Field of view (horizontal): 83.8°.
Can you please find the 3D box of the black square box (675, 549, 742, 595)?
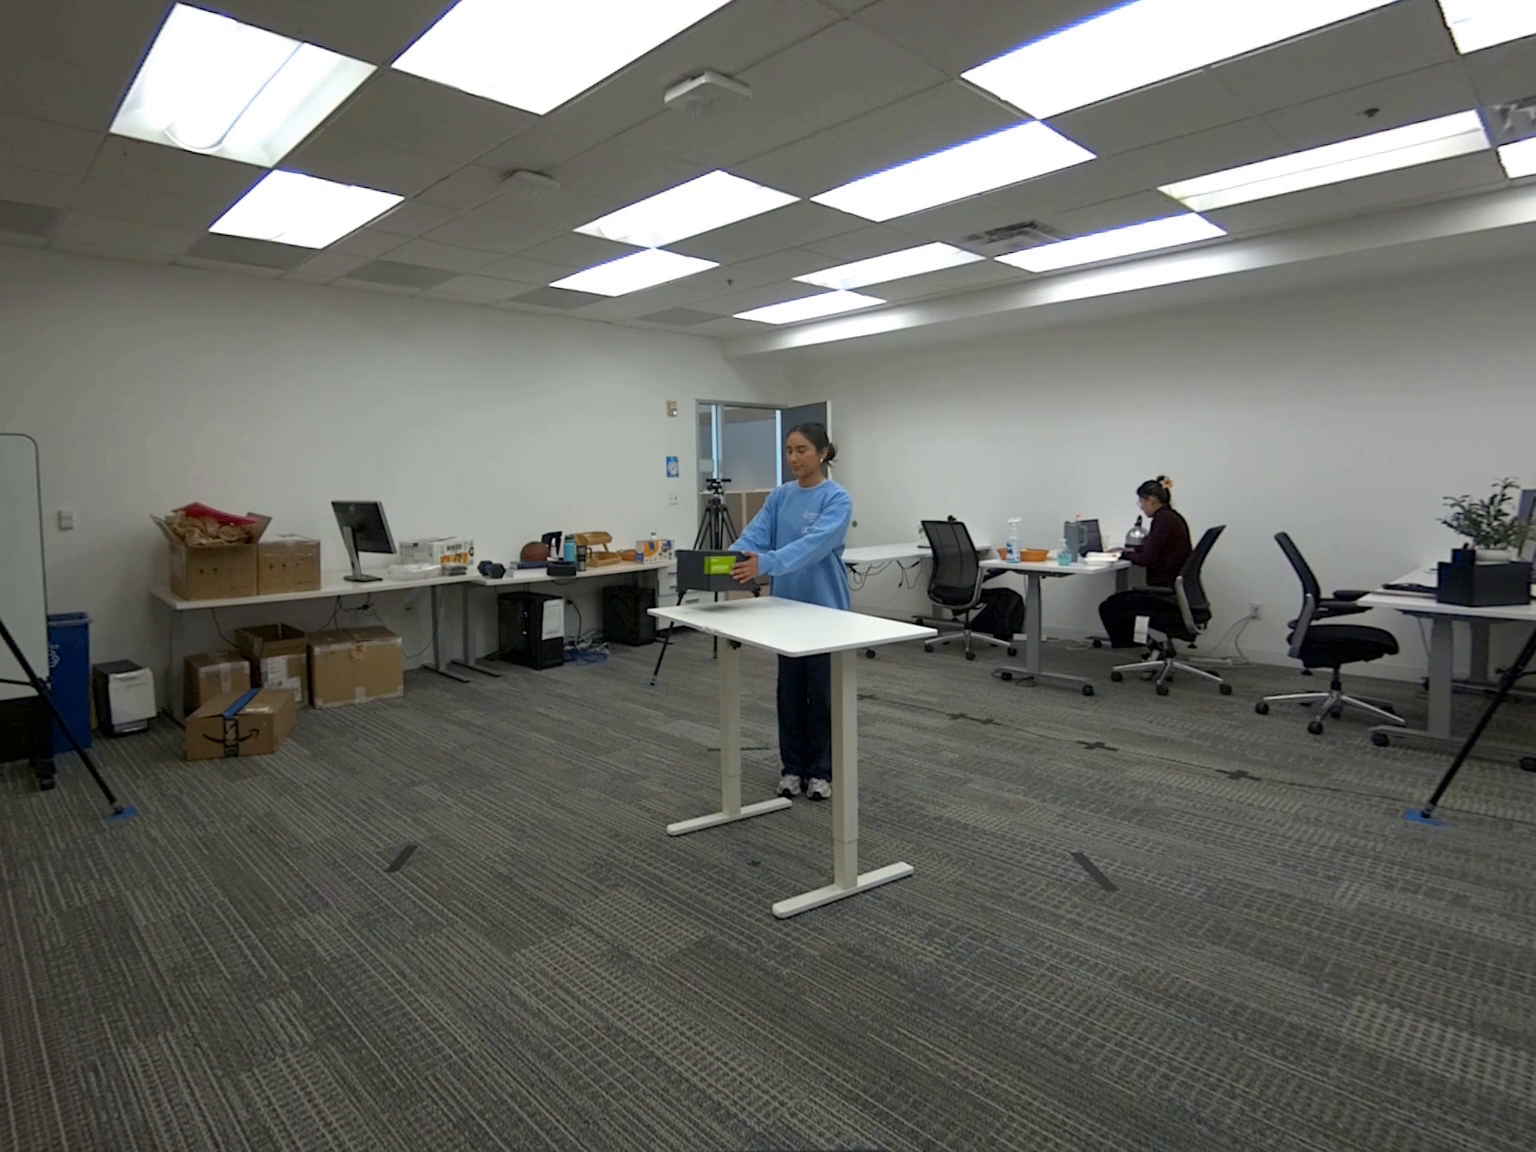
[{"bbox_3d":[-0.205,-0.024,3.404,0.221,0.156,0.223,1,2,-38],"label":"black square box"}]
